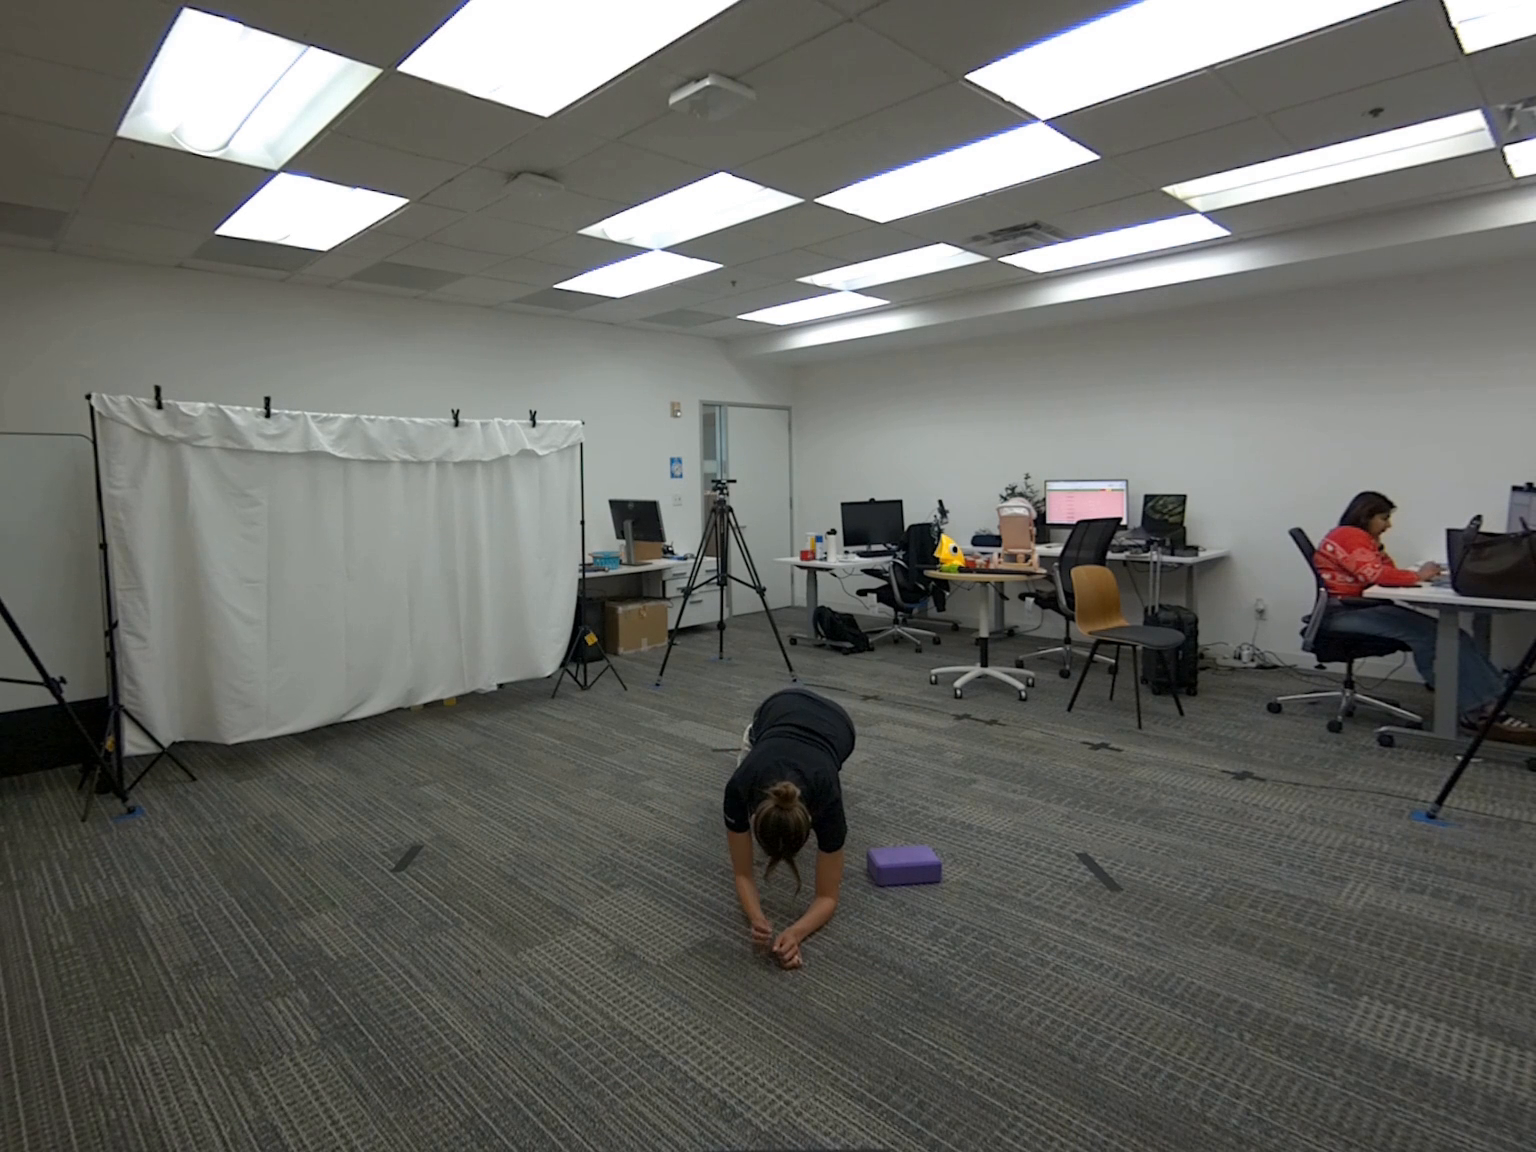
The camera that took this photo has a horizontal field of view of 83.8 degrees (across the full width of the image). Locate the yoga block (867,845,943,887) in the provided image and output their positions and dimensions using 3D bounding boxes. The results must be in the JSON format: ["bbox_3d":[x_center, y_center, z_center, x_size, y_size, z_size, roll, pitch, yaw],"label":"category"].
[{"bbox_3d":[0.482,1.009,2.985,0.228,0.076,0.151,-2,6,-7],"label":"yoga block"}]
